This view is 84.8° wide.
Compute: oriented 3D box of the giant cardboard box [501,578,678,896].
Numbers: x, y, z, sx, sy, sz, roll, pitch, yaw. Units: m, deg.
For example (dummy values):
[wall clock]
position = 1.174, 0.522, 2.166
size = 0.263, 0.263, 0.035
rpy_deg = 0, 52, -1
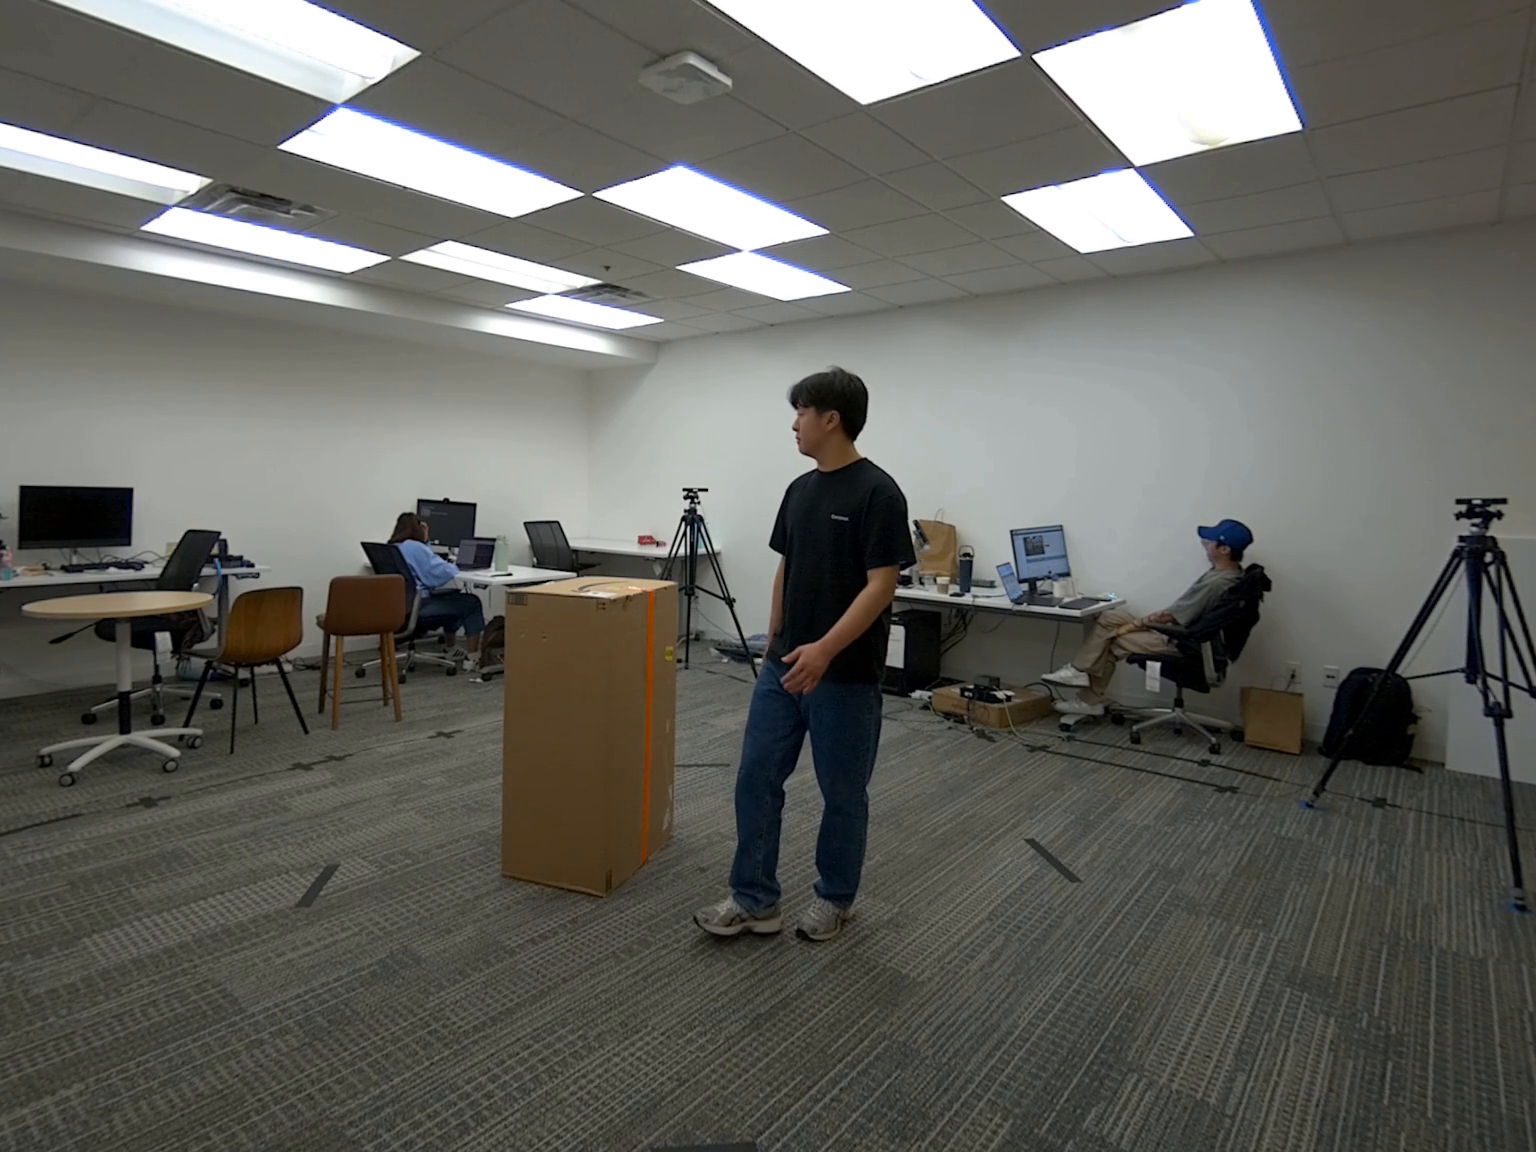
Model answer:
[giant cardboard box]
position = -0.661, 0.541, 3.192
size = 0.457, 1.024, 0.572
rpy_deg = 3, 3, 21
